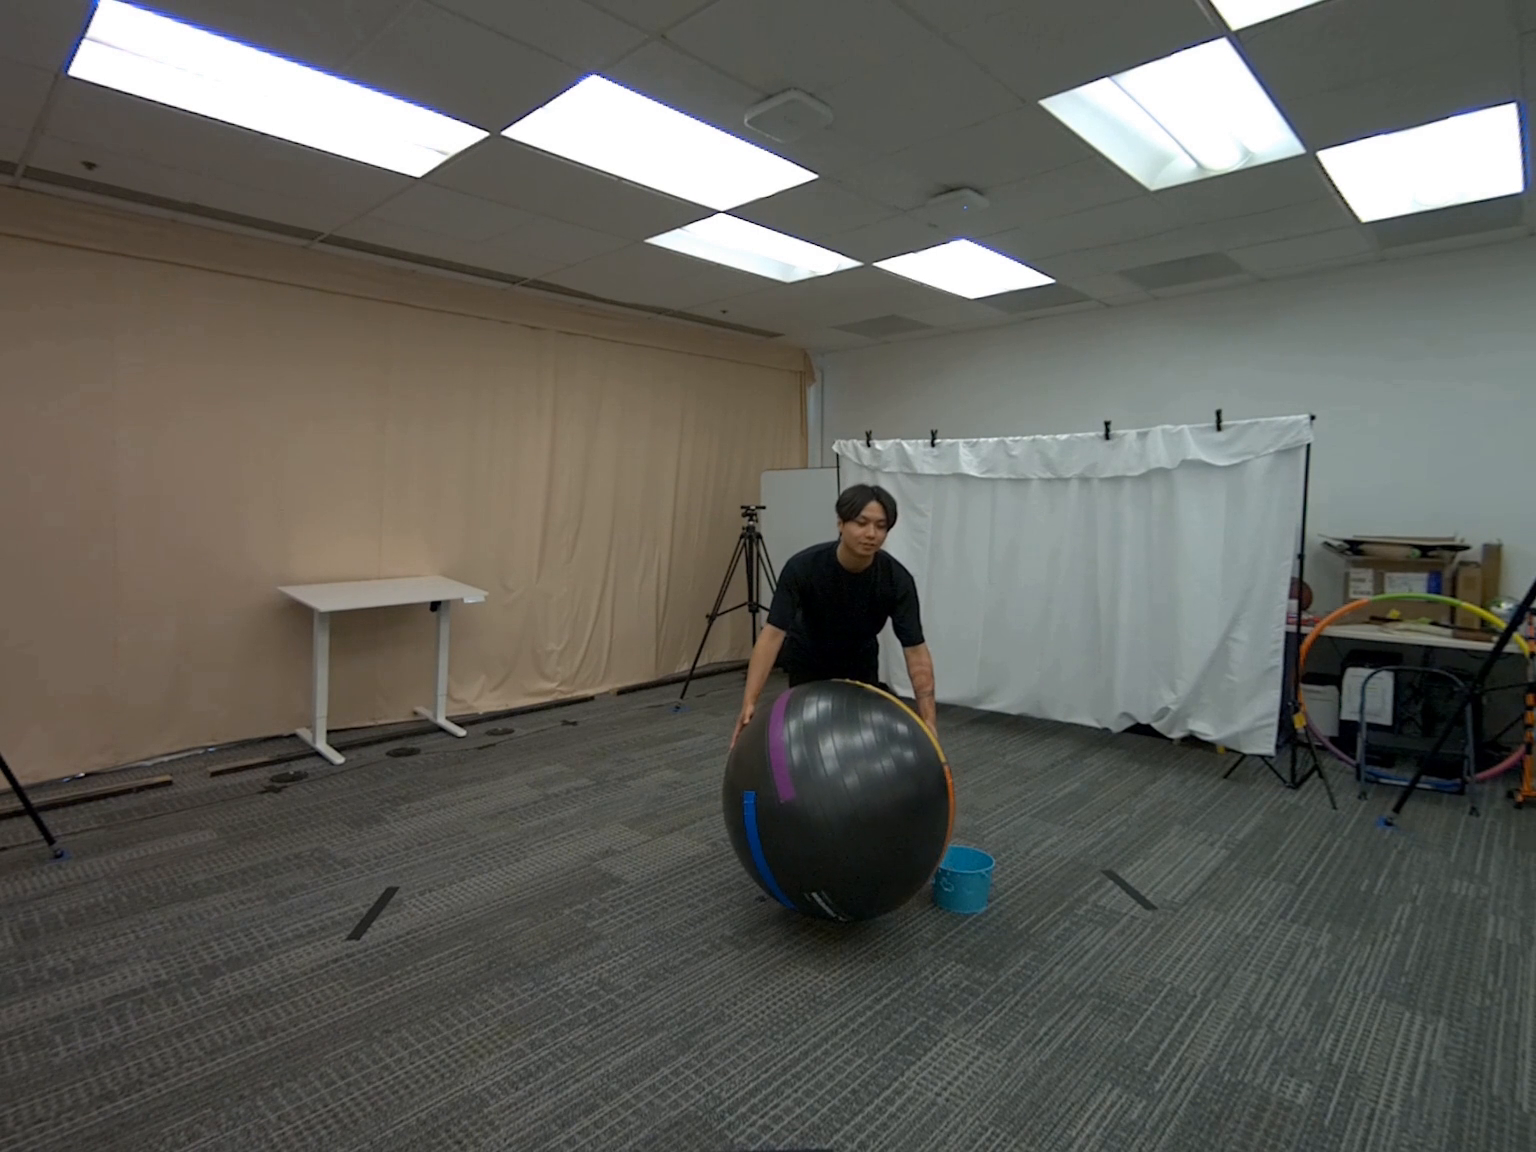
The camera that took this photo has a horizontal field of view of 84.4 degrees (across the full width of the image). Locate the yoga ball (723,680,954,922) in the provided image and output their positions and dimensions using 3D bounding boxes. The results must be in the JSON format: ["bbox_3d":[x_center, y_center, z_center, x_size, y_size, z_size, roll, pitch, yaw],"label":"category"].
[{"bbox_3d":[0.229,0.730,2.790,0.757,0.756,0.760,0,4,-2],"label":"yoga ball"}]
